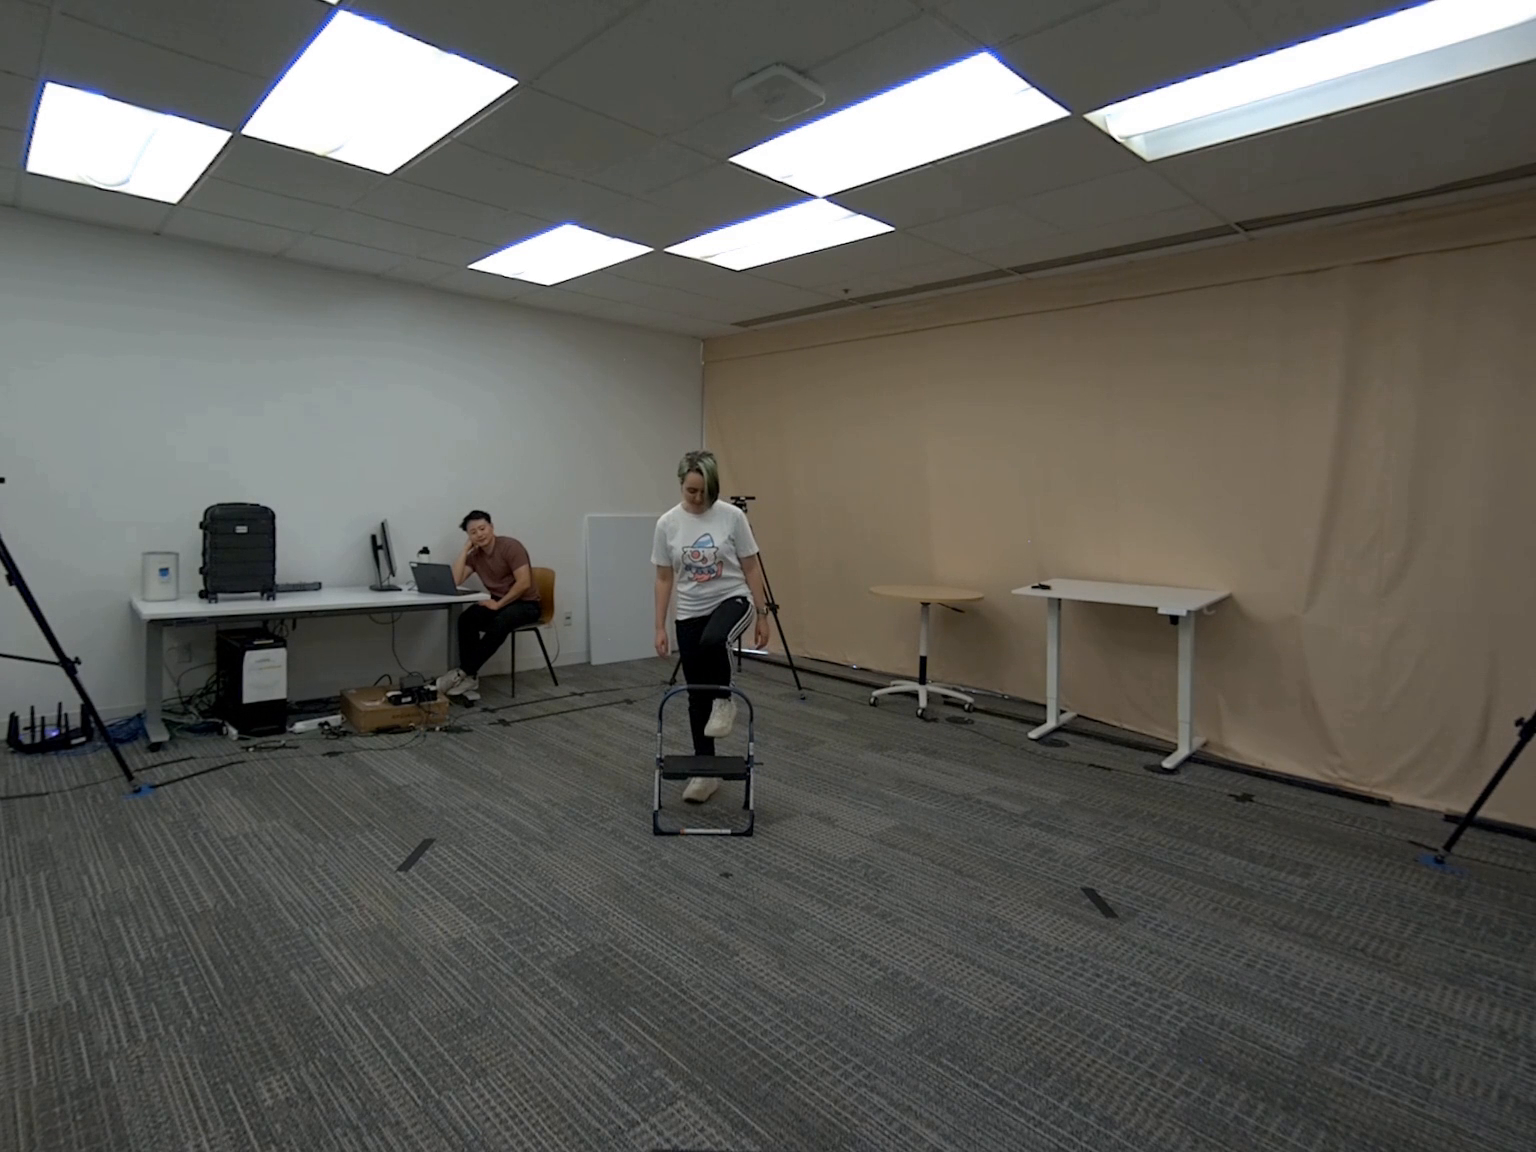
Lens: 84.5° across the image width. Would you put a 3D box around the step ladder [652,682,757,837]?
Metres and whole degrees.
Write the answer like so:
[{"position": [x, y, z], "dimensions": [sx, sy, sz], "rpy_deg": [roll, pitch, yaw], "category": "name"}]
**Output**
[{"position": [-0.281, 0.757, 3.617], "dimensions": [0.429, 0.605, 0.351], "rpy_deg": [1, 3, -4], "category": "step ladder"}]
